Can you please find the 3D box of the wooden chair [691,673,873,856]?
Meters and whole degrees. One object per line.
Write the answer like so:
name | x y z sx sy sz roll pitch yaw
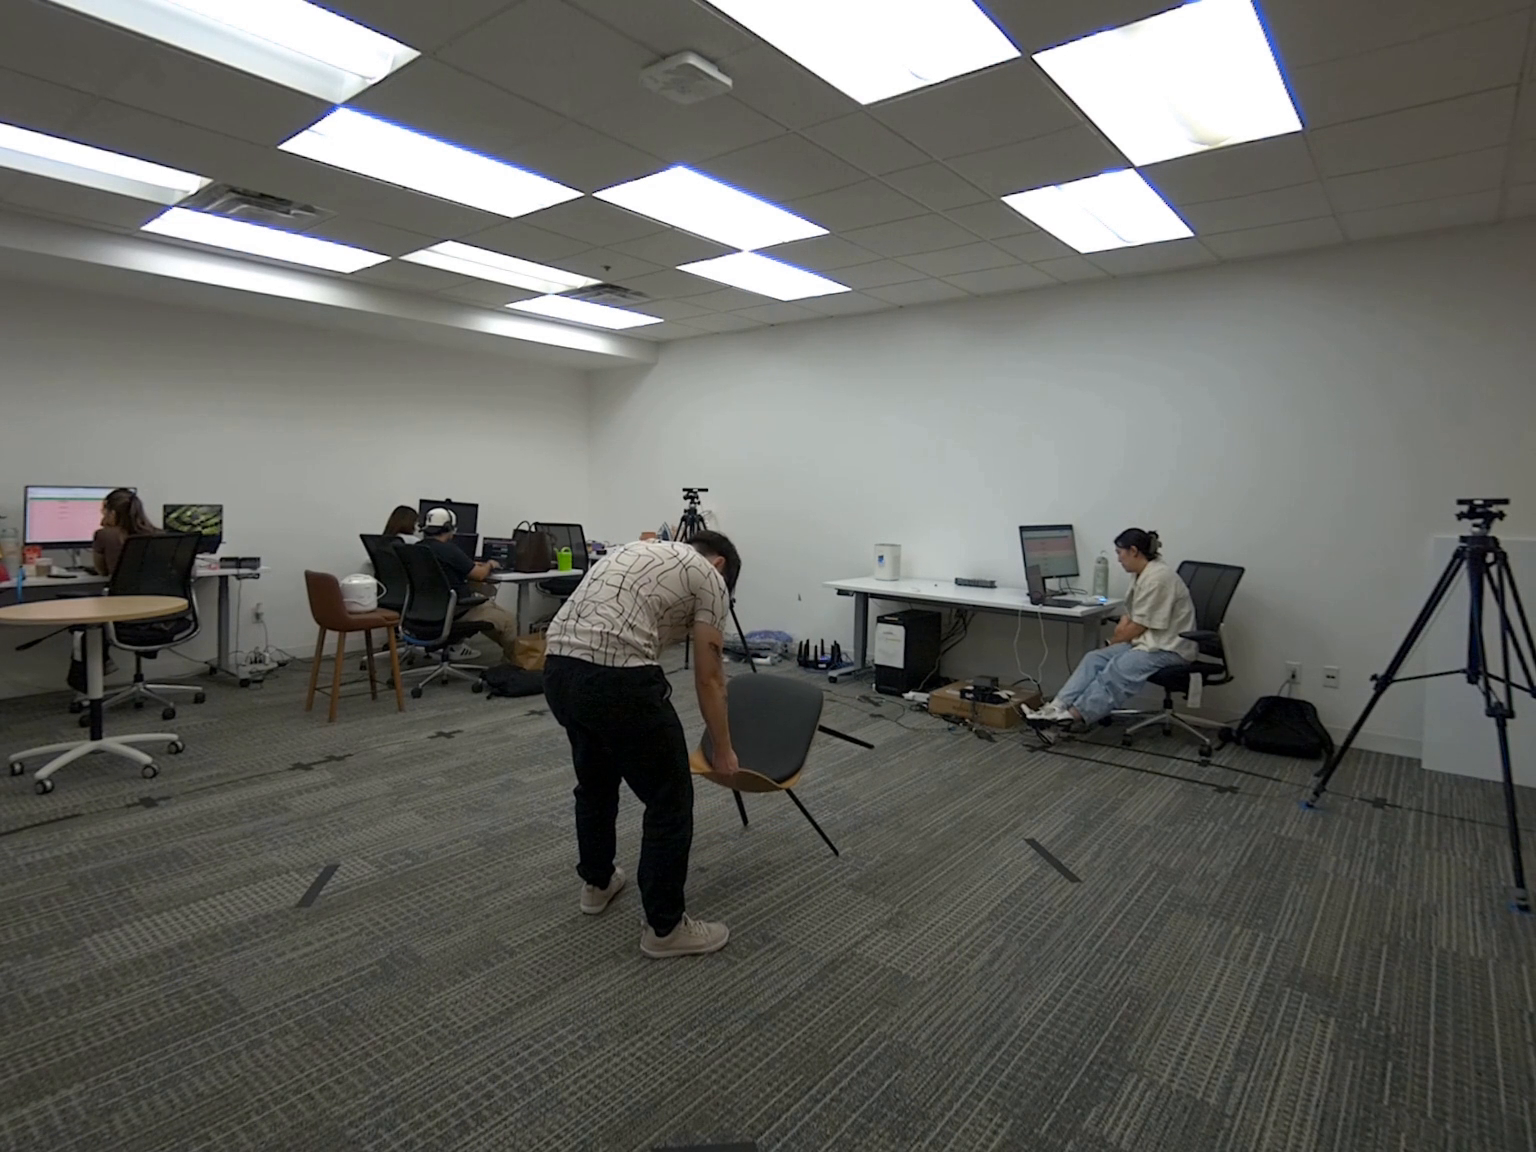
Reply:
wooden chair | -0.026 0.622 3.208 0.494 0.528 0.840 5 -27 37
